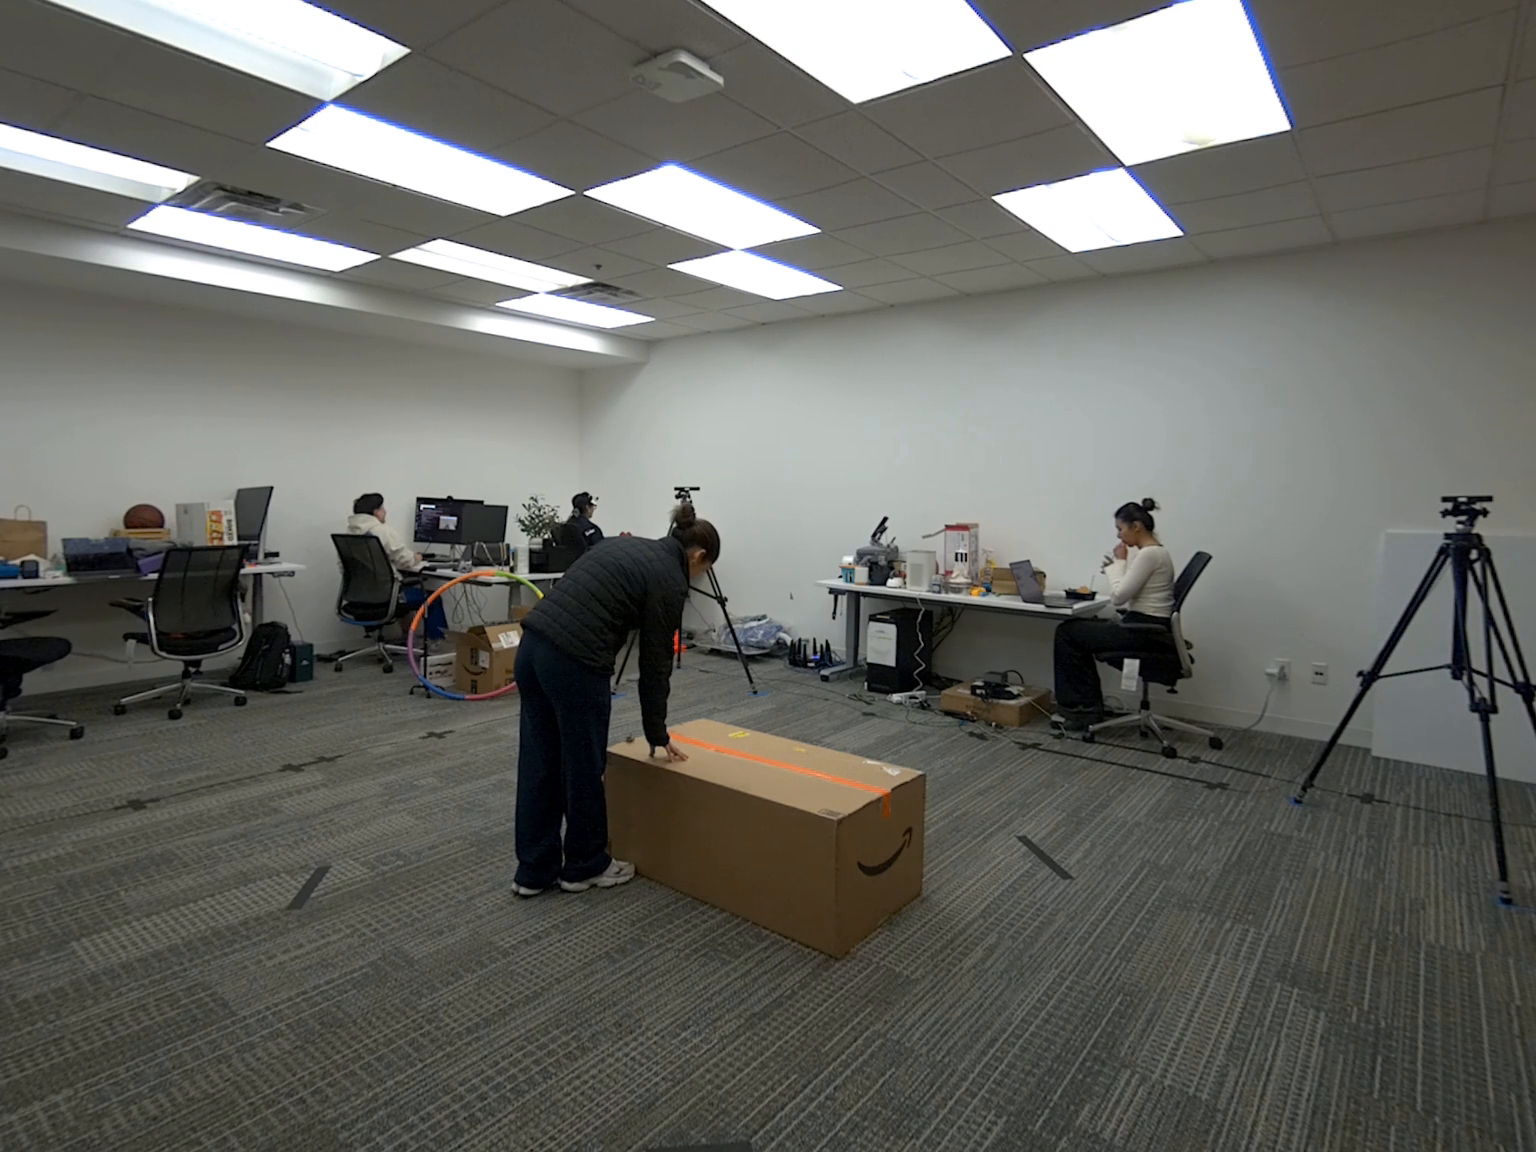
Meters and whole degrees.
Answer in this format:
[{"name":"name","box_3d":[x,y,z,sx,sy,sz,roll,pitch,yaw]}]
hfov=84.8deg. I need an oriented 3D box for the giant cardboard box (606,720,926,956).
[{"name":"giant cardboard box","box_3d":[-0.023,0.865,3.061,1.062,0.445,0.567,6,8,38]}]
